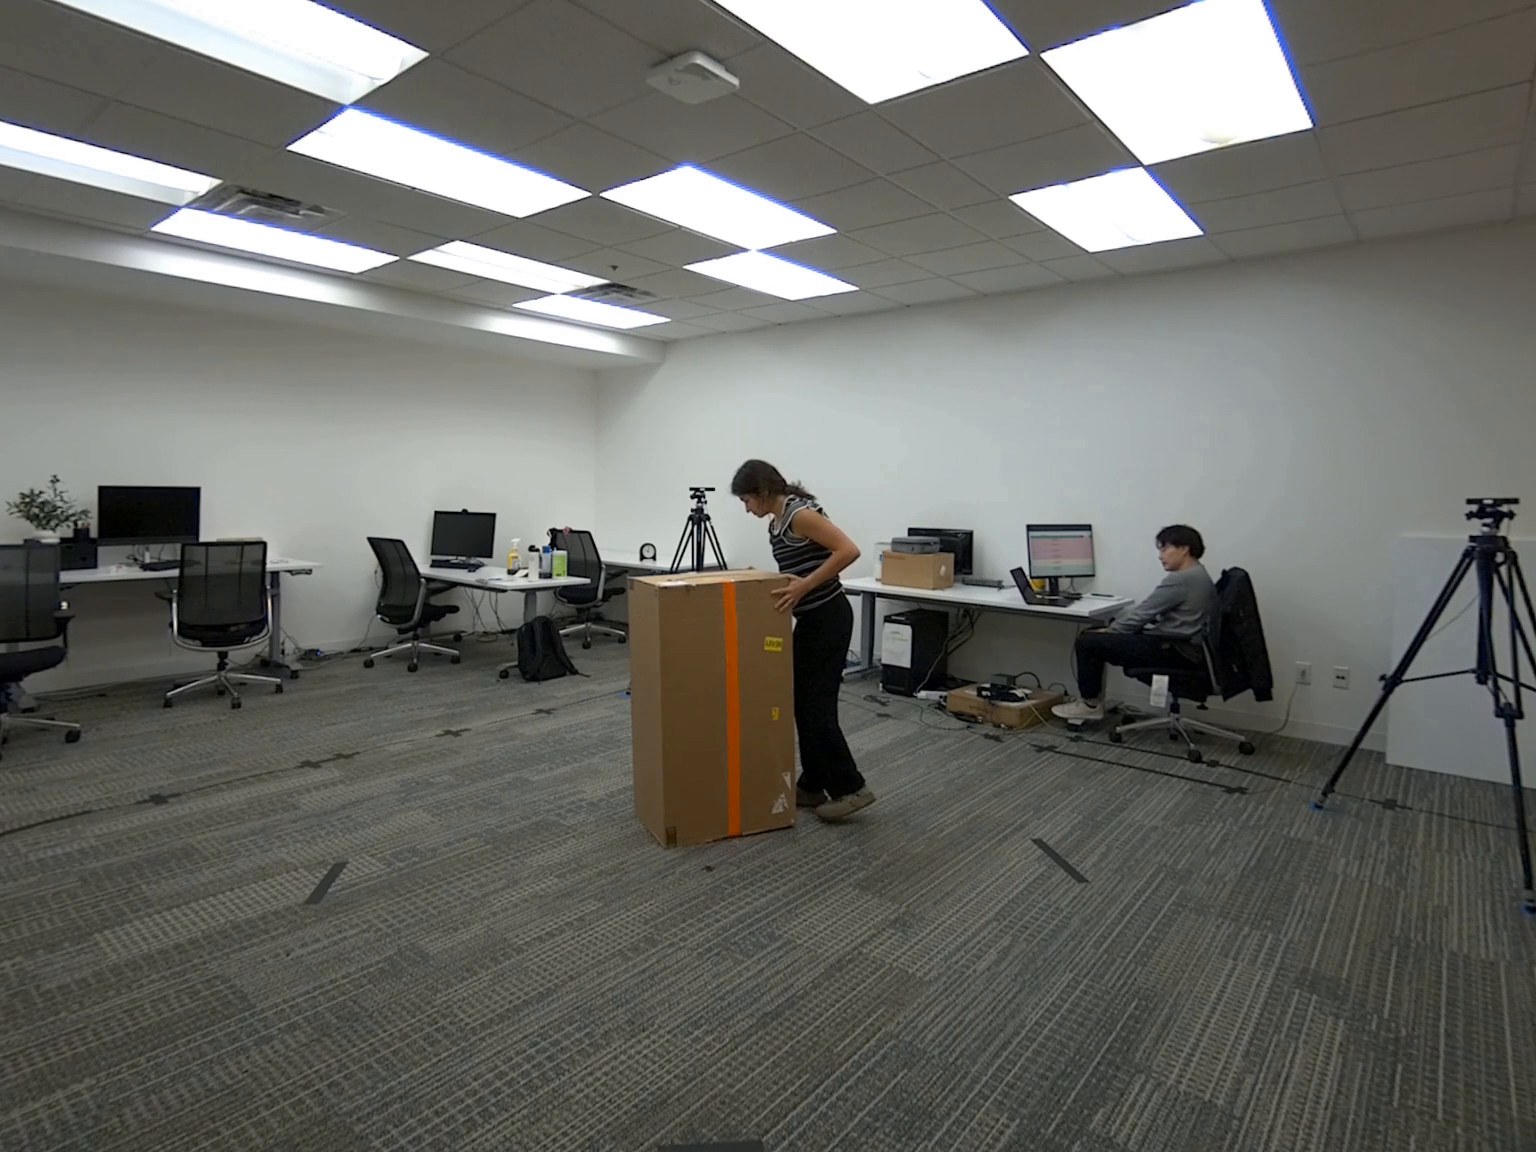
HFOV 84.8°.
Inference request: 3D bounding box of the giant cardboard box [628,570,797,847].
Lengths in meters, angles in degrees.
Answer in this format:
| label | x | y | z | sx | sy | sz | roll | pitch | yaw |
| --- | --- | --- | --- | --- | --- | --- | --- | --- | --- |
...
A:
| label | x | y | z | sx | sy | sz | roll | pitch | yaw |
| --- | --- | --- | --- | --- | --- | --- | --- | --- | --- |
| giant cardboard box | -0.252 | 0.512 | 3.550 | 0.565 | 1.023 | 0.437 | -2 | 3 | -24 |
